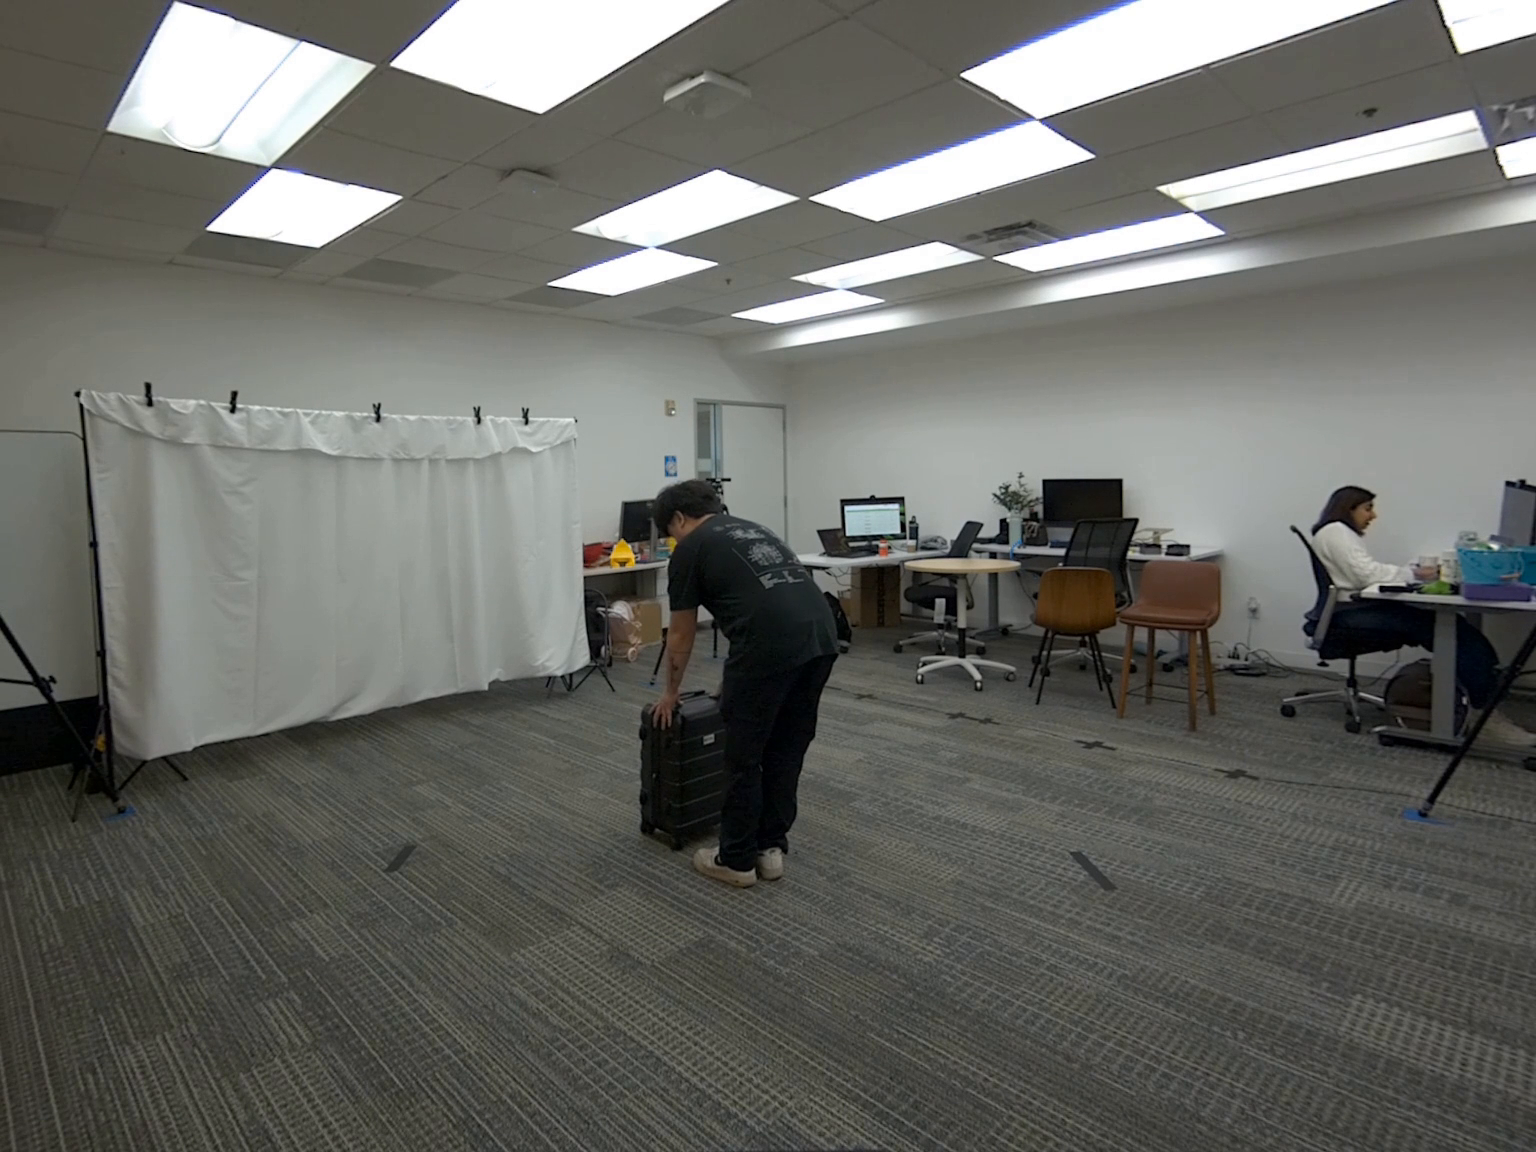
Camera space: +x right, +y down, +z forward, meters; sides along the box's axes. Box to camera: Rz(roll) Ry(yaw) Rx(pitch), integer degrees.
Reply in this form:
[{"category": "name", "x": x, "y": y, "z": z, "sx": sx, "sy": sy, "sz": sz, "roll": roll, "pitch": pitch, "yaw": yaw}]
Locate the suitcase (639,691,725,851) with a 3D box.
[{"category": "suitcase", "x": -0.302, "y": 0.743, "z": 3.366, "sx": 0.365, "sy": 0.546, "sz": 0.256, "roll": -5, "pitch": 8, "yaw": -42}]
